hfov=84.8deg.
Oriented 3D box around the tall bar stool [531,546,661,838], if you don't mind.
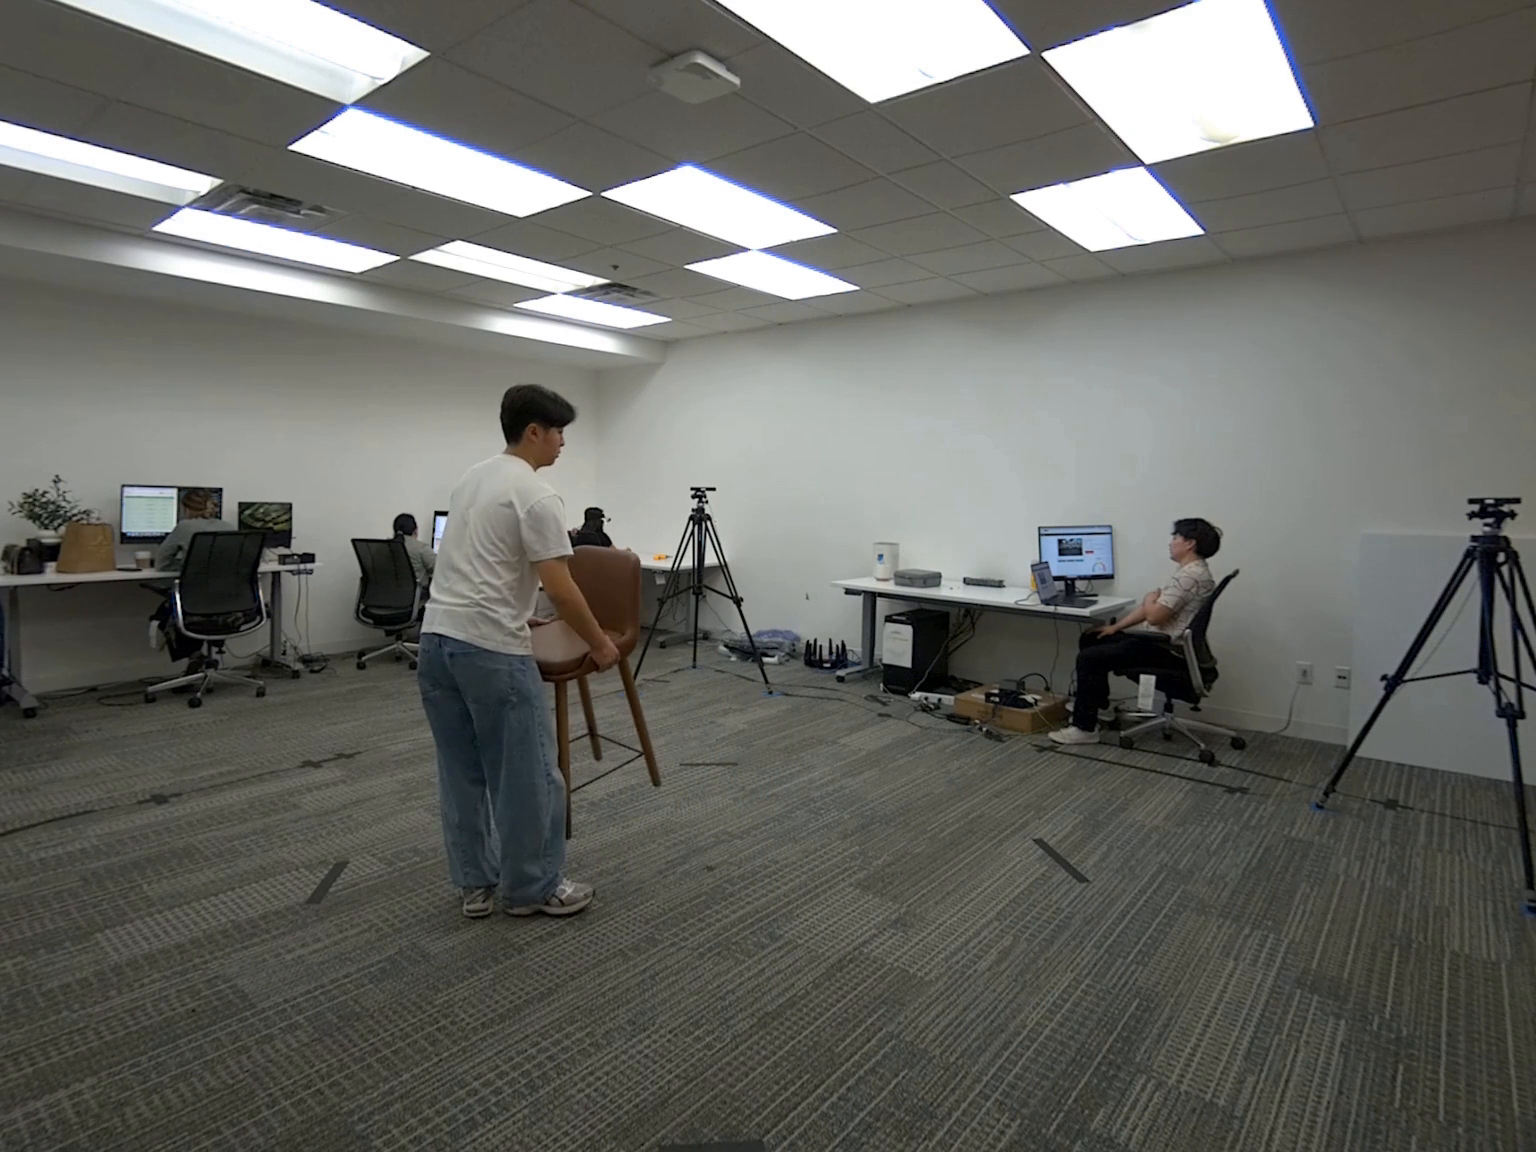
[{"bbox_3d":[-0.710,0.384,3.013,0.473,0.880,0.456,7,15,41],"label":"tall bar stool"}]
